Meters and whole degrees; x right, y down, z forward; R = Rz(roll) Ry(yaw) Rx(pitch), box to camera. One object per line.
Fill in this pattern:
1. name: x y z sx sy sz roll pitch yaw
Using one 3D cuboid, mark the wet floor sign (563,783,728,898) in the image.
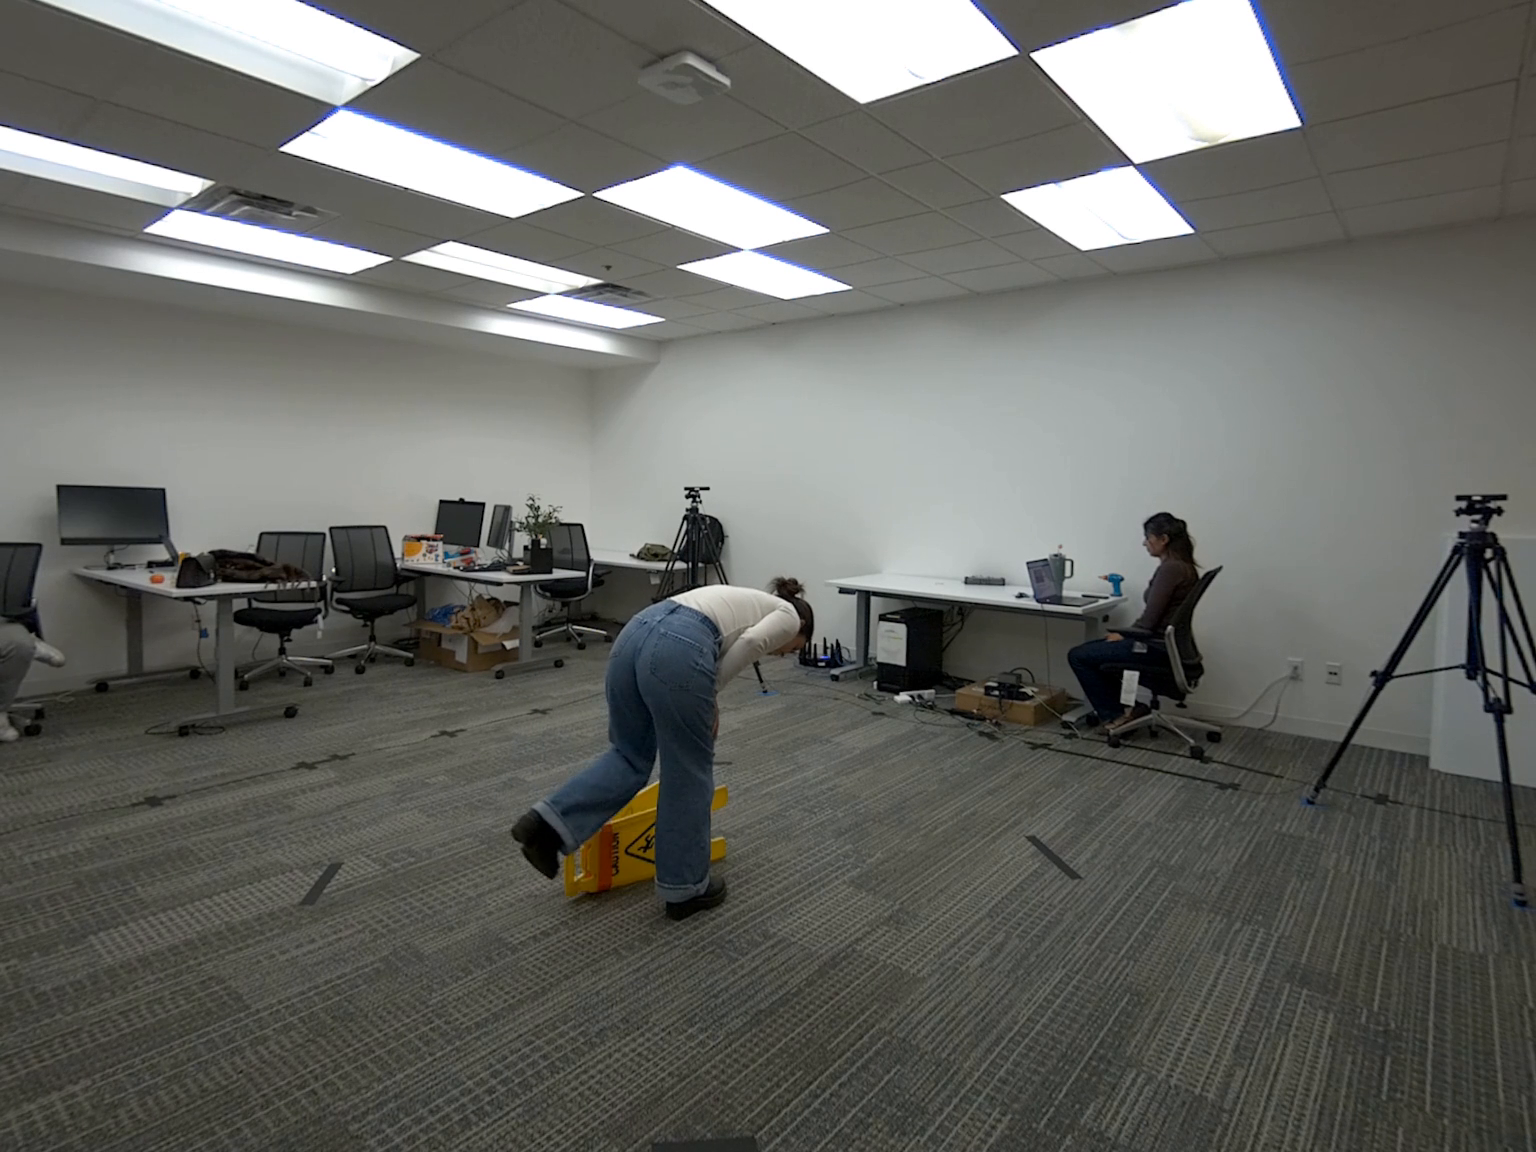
1. wet floor sign: -0.469 0.938 3.052 0.300 0.281 0.628 6 9 41
